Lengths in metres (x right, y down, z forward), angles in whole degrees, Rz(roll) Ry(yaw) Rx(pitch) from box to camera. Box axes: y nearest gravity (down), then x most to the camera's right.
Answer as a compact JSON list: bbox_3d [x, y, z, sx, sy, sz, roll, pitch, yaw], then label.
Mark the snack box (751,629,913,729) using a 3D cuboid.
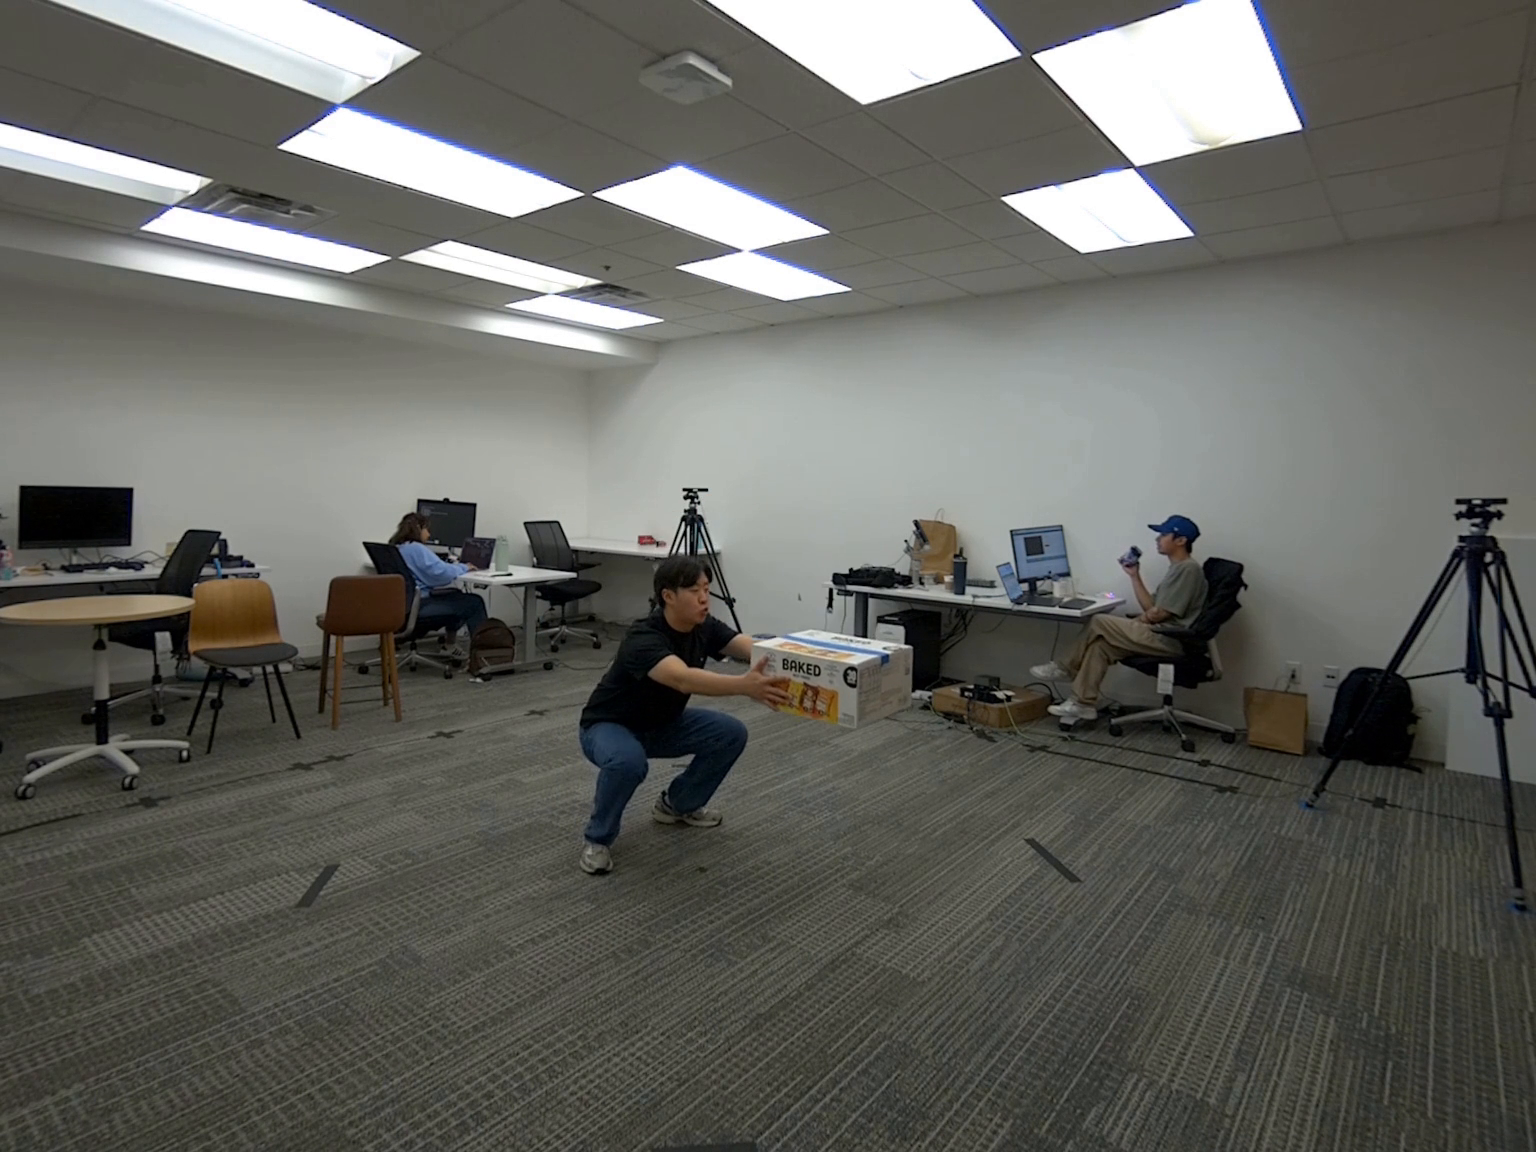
[{"bbox_3d":[0.195,0.313,2.788,0.419,0.204,0.331,7,10,39],"label":"snack box"}]
